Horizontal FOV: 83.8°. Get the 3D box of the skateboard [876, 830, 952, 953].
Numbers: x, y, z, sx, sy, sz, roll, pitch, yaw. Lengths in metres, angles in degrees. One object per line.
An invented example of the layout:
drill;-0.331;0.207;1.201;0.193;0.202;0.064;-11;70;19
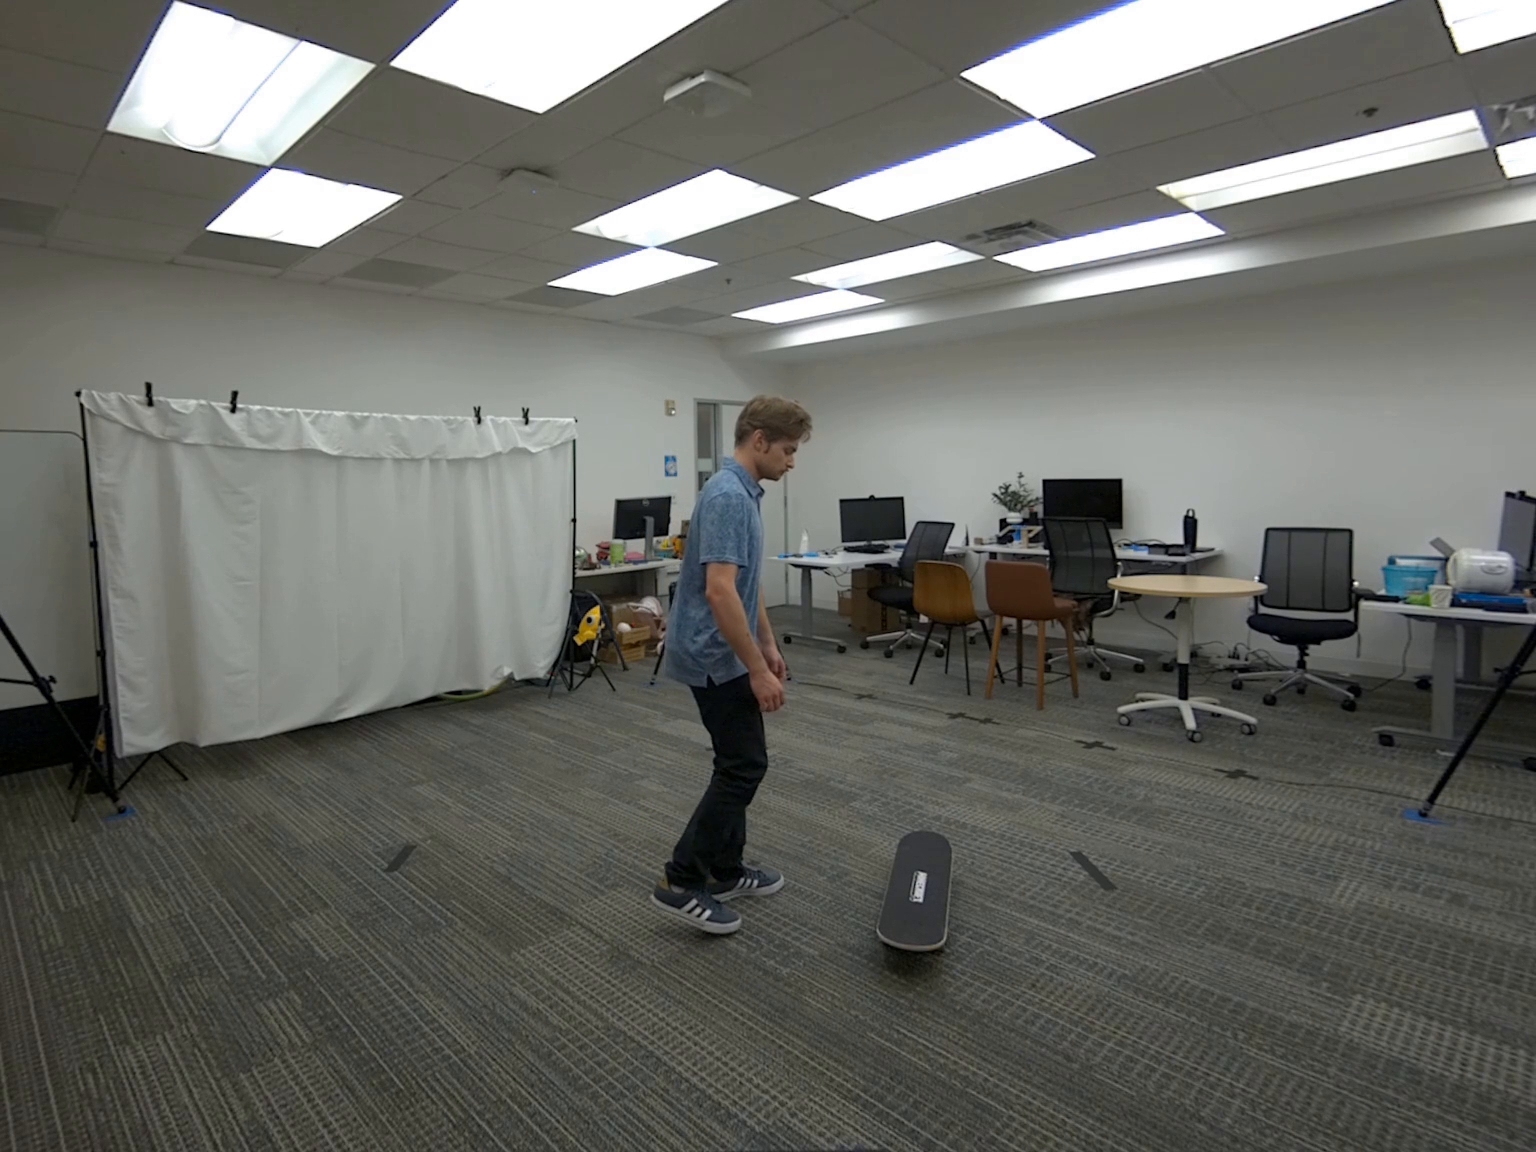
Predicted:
skateboard;0.480;1.017;2.726;0.196;0.110;0.777;1;7;14
